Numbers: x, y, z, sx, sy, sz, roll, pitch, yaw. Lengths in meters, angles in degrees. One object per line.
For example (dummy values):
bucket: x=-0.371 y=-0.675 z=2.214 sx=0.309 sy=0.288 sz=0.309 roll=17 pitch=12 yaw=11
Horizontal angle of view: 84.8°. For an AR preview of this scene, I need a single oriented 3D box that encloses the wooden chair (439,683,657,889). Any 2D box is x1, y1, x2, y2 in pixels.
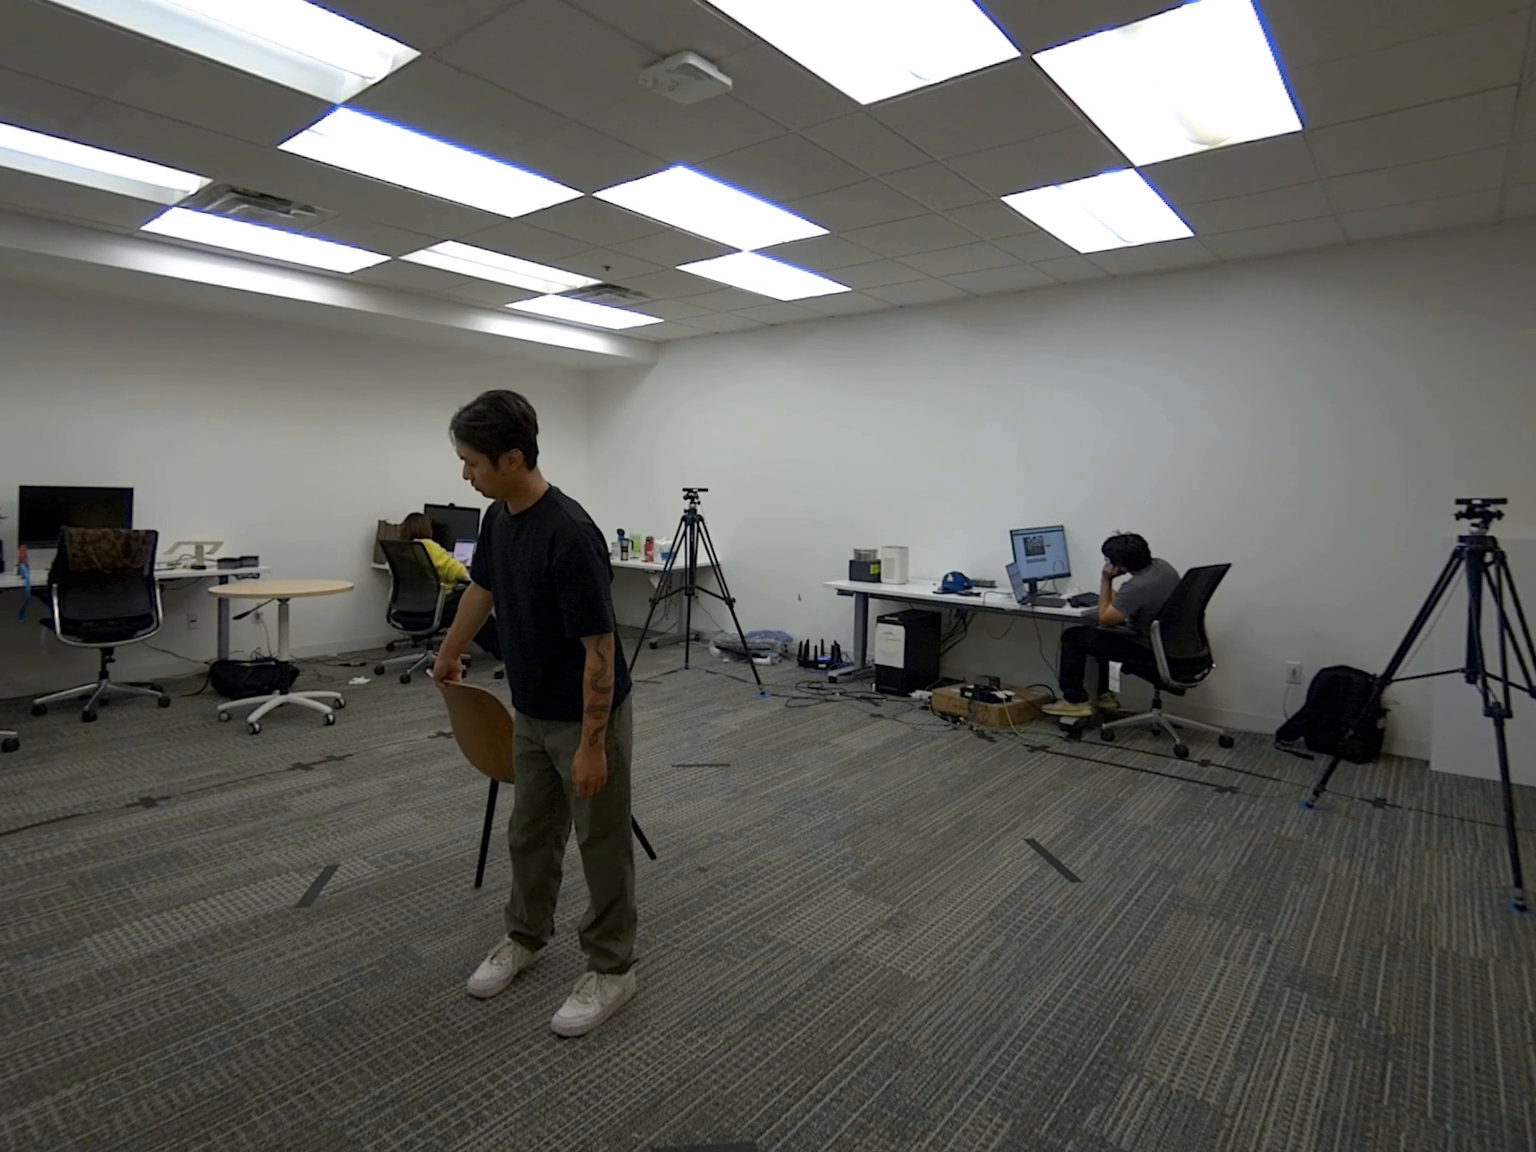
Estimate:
wooden chair: x=-0.768 y=0.618 z=2.843 sx=0.494 sy=0.861 sz=0.515 roll=4 pitch=22 yaw=41
